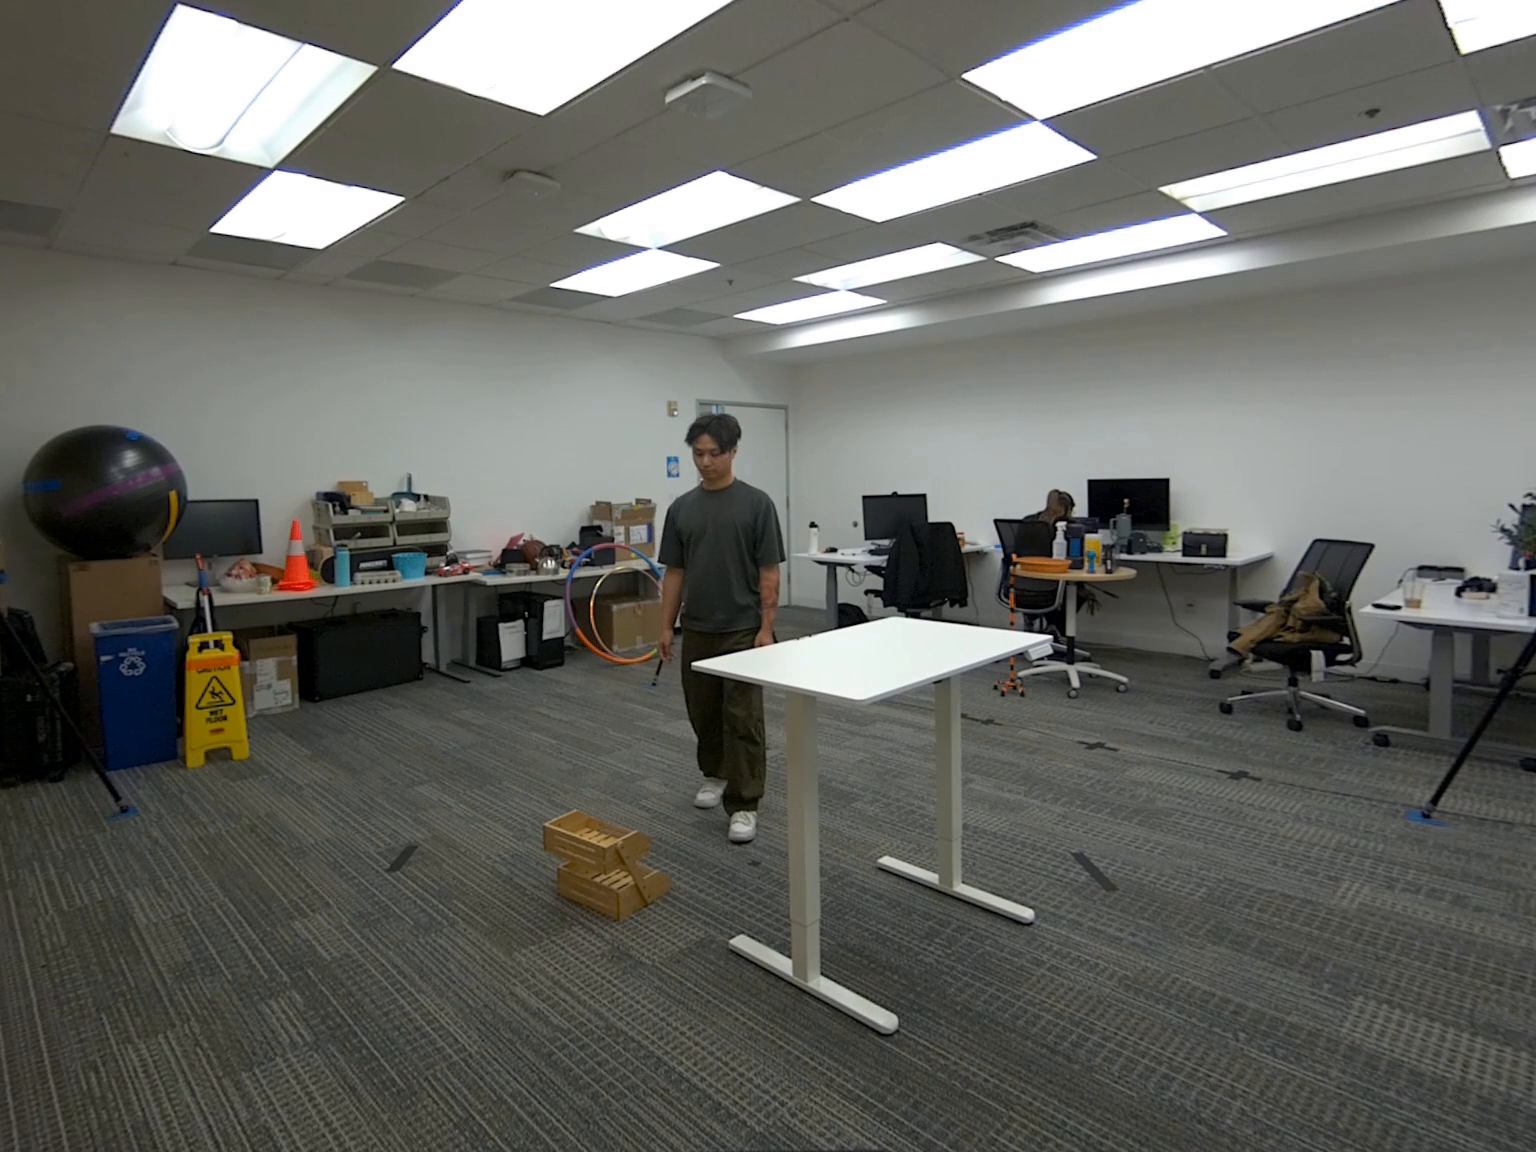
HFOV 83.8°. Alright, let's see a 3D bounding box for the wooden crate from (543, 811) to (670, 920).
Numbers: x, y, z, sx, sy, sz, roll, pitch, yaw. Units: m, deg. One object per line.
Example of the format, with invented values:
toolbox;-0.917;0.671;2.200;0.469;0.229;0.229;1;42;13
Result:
wooden crate;-0.537;0.944;2.882;0.334;0.272;0.294;4;7;37
